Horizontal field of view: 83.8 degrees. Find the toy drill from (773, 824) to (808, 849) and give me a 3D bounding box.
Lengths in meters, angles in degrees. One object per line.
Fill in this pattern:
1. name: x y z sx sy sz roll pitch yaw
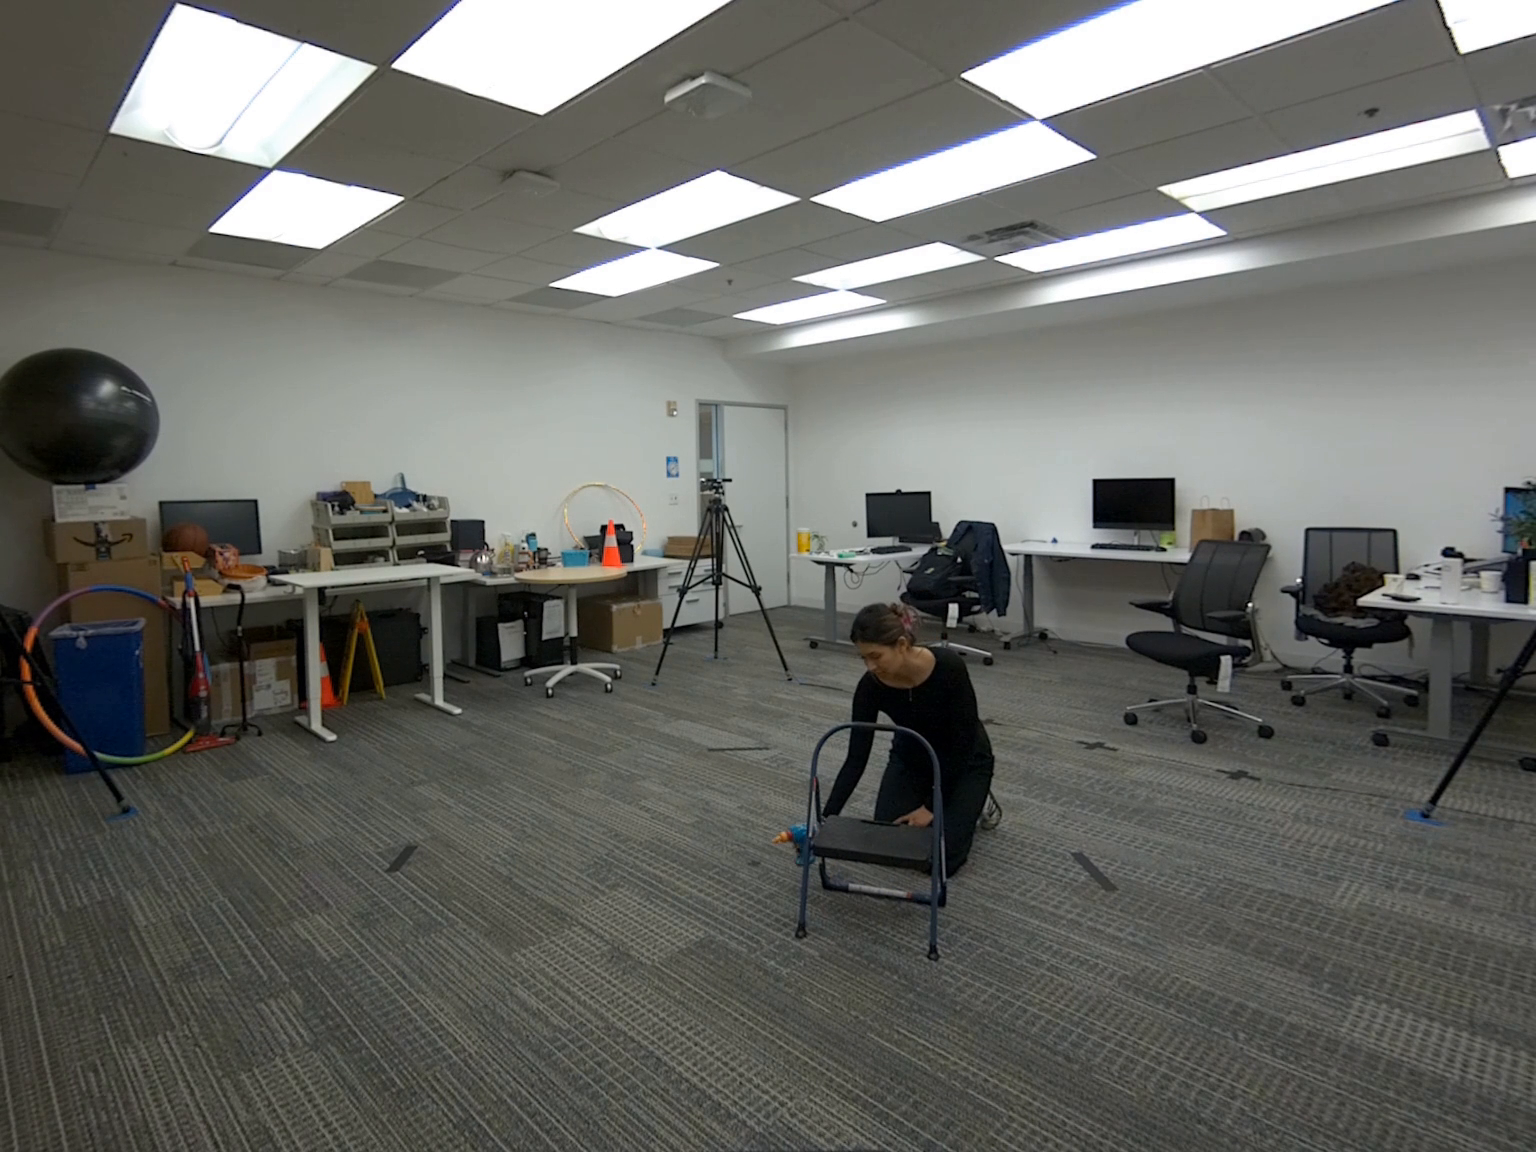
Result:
1. toy drill: 0.102 0.942 2.930 0.166 0.145 0.062 -12 4 -29
